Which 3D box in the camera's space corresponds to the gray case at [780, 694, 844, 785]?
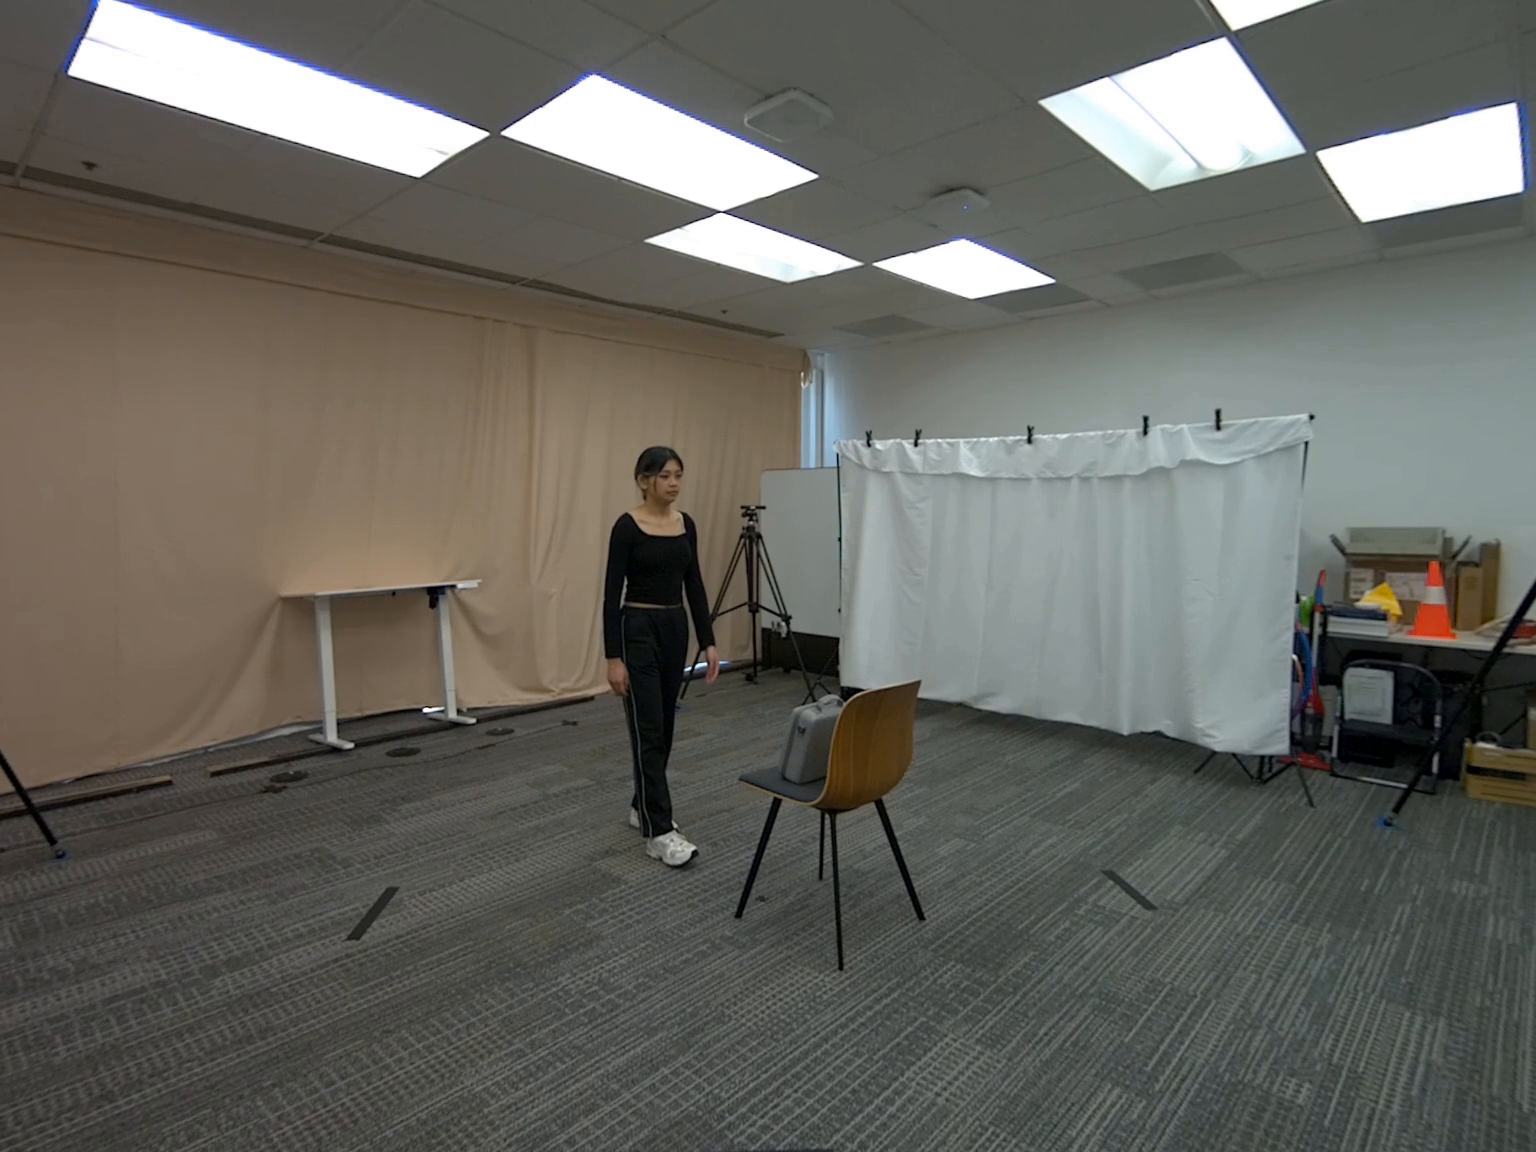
[{"bbox_3d":[0.176,0.545,2.814,0.108,0.259,0.249,22,17,40],"label":"gray case"}]
